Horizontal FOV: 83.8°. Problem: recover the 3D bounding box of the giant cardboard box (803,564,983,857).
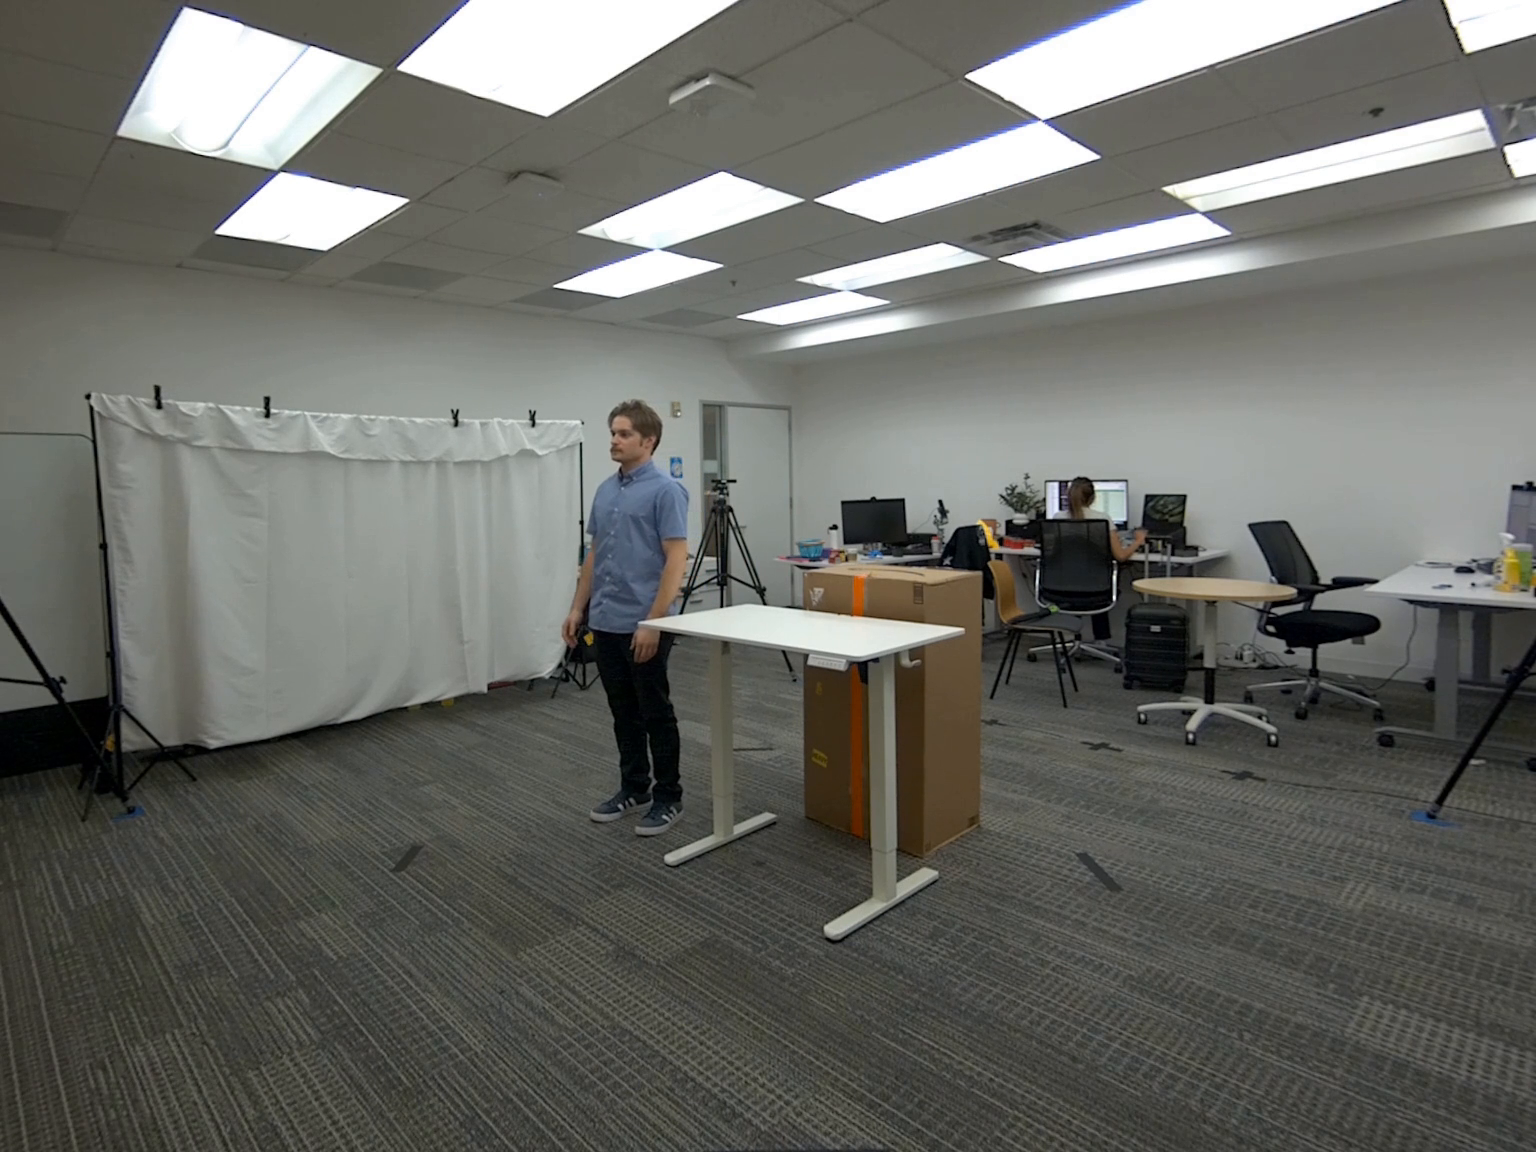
[{"bbox_3d":[0.492,0.489,3.438,0.595,1.022,0.415,3,6,45],"label":"giant cardboard box"}]
